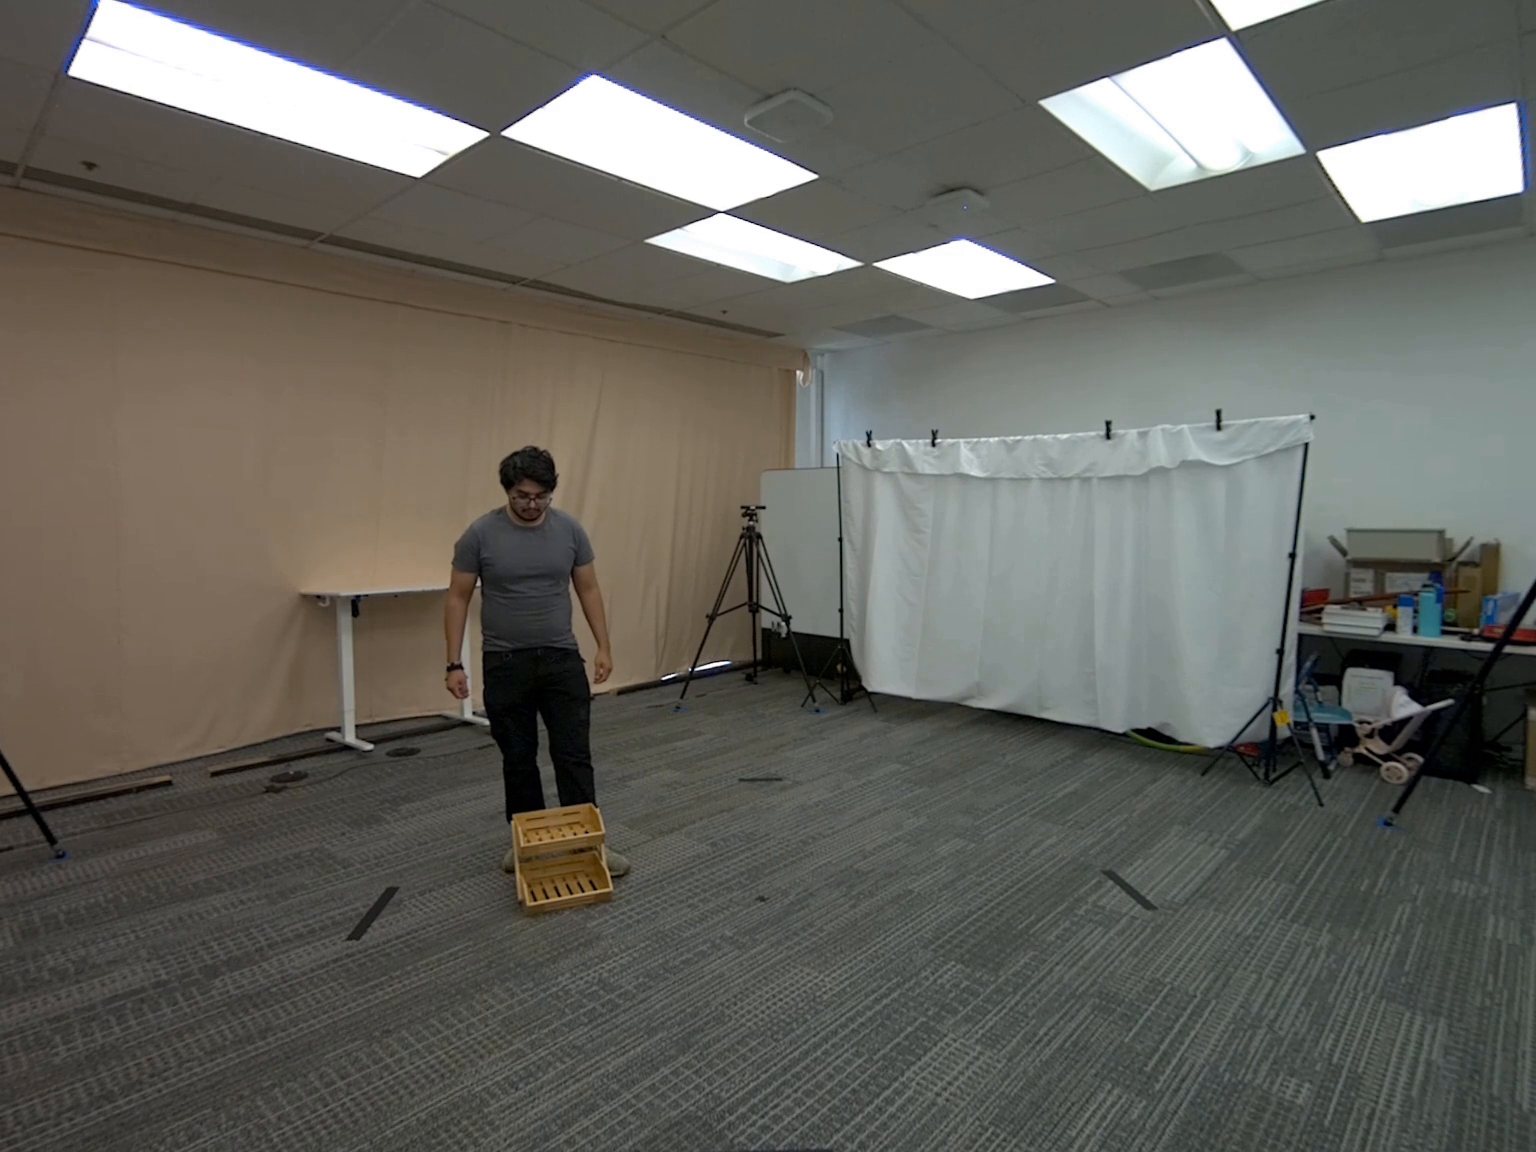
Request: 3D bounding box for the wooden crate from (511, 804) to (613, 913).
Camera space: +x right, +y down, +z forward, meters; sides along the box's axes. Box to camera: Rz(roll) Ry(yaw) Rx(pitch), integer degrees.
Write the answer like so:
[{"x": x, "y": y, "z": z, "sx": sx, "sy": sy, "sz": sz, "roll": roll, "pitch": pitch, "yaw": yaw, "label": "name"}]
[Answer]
[{"x": -0.744, "y": 1.012, "z": 3.035, "sx": 0.317, "sy": 0.273, "sz": 0.309, "roll": -2, "pitch": 3, "yaw": -23, "label": "wooden crate"}]
